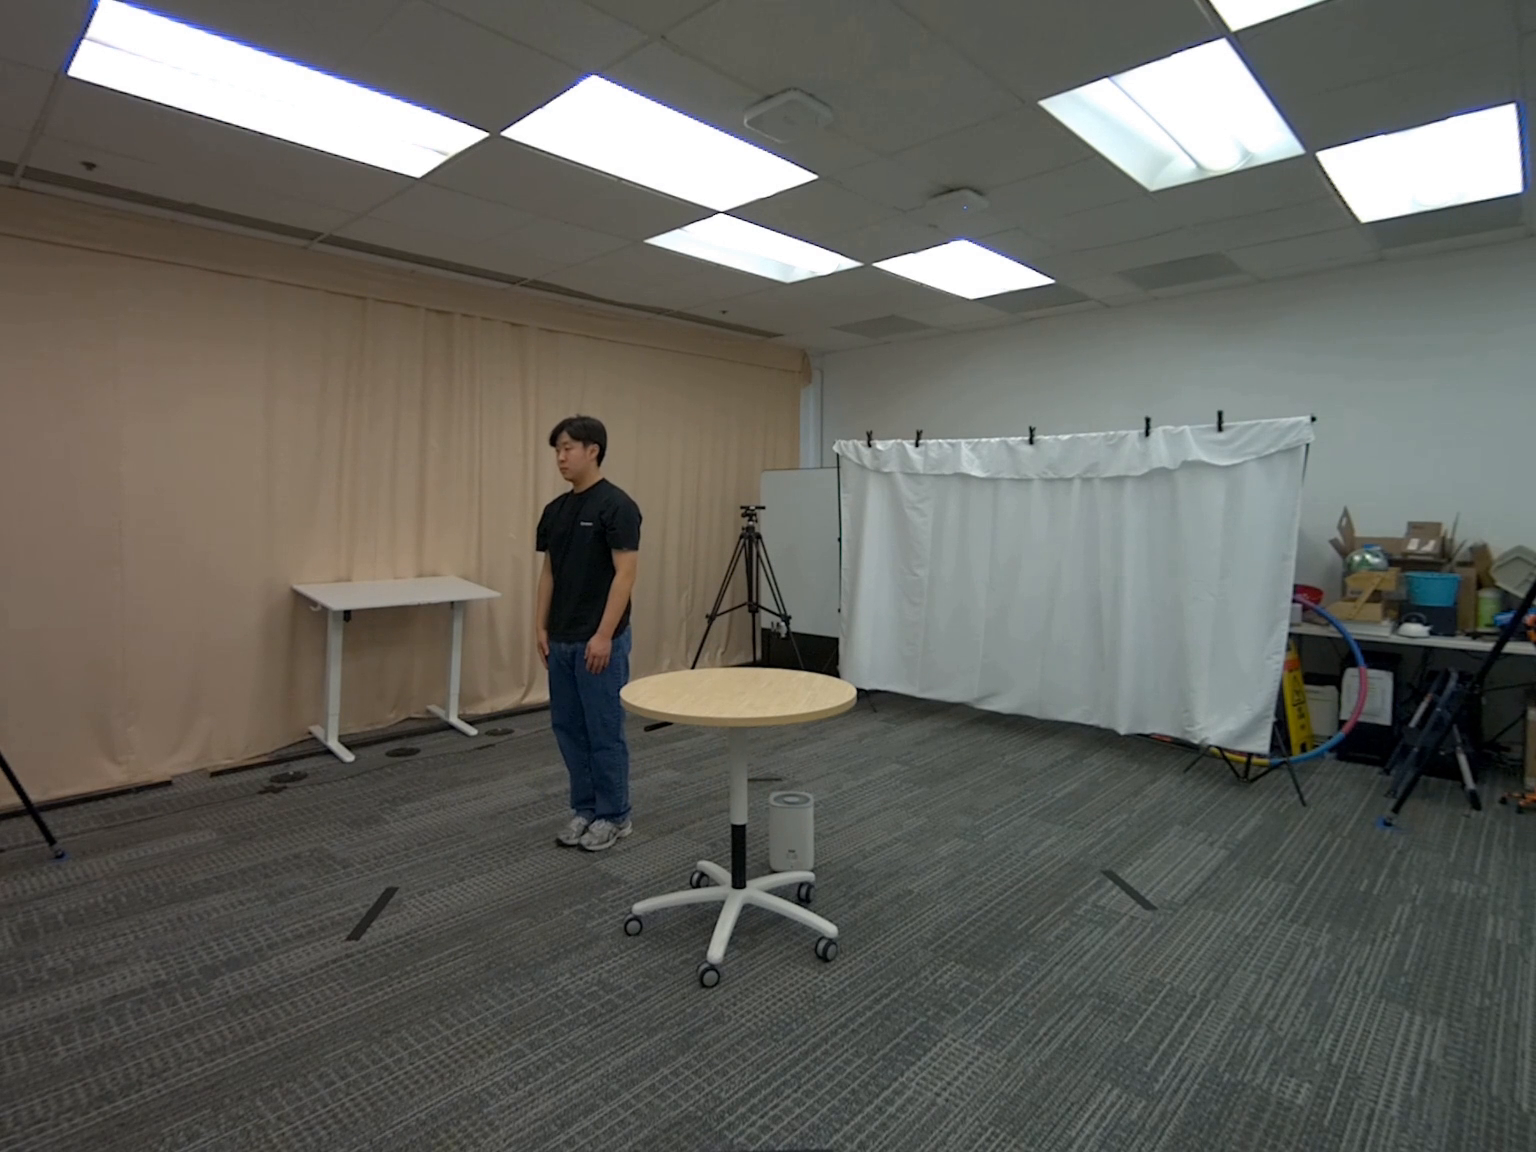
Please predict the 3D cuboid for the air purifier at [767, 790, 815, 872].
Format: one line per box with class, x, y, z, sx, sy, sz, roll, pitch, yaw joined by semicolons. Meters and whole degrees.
air purifier;0.092;0.987;3.242;0.171;0.265;0.171;1;3;1
